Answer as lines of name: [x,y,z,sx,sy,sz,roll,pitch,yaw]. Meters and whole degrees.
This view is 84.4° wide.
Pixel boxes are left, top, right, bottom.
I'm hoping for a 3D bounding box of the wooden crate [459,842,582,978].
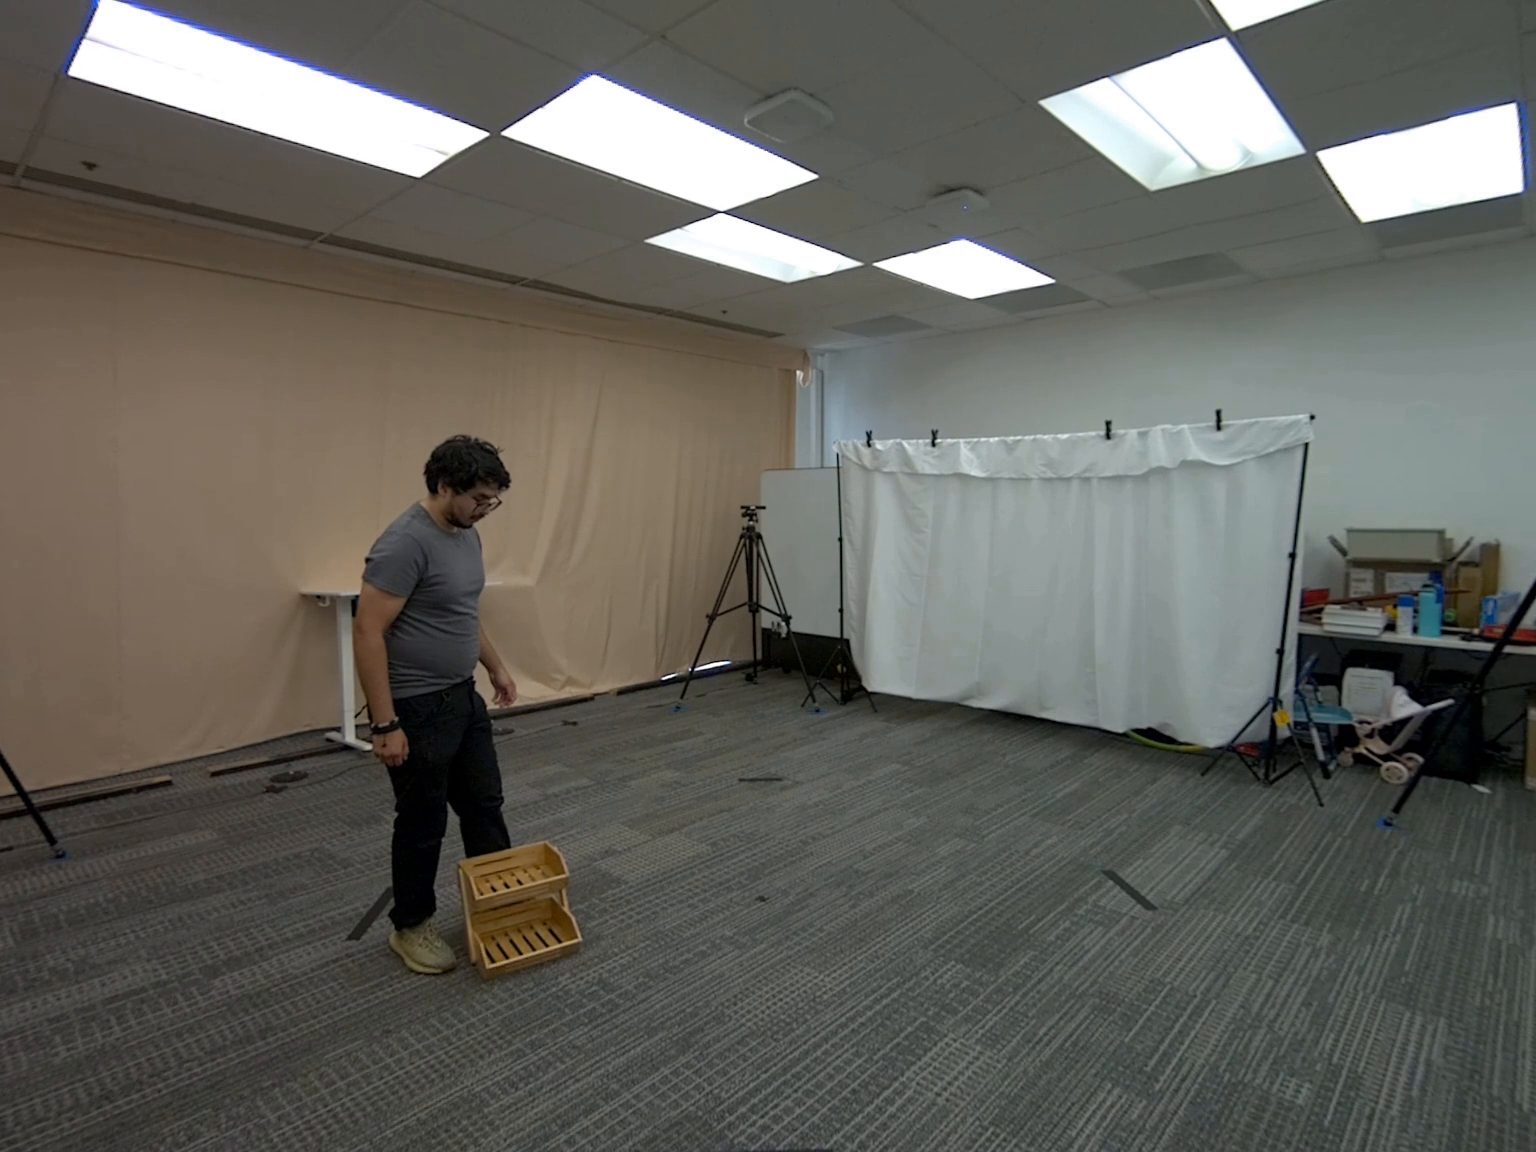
wooden crate: [-0.785,1.042,2.651,0.315,0.273,0.311,-3,4,-34]
